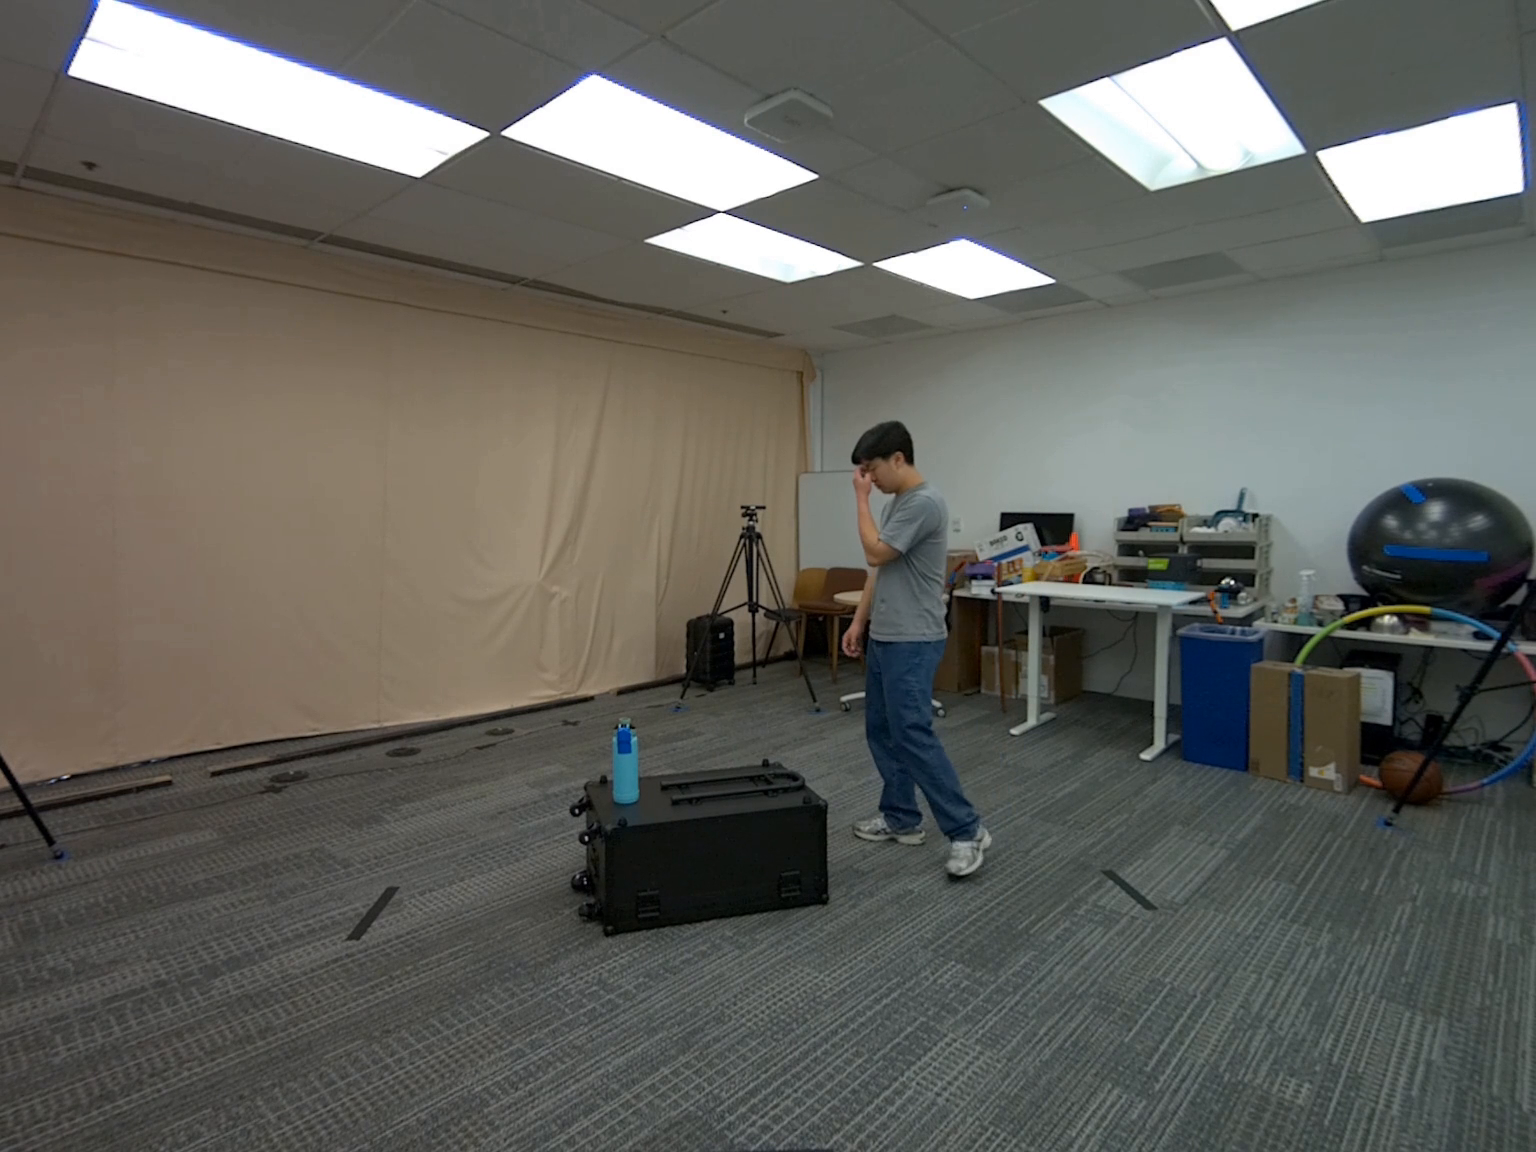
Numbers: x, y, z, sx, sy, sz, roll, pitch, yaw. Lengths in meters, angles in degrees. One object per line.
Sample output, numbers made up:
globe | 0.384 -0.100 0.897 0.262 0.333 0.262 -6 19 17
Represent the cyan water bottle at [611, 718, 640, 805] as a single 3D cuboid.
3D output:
cyan water bottle | -0.500 0.648 2.966 0.092 0.282 0.093 0 6 -2
